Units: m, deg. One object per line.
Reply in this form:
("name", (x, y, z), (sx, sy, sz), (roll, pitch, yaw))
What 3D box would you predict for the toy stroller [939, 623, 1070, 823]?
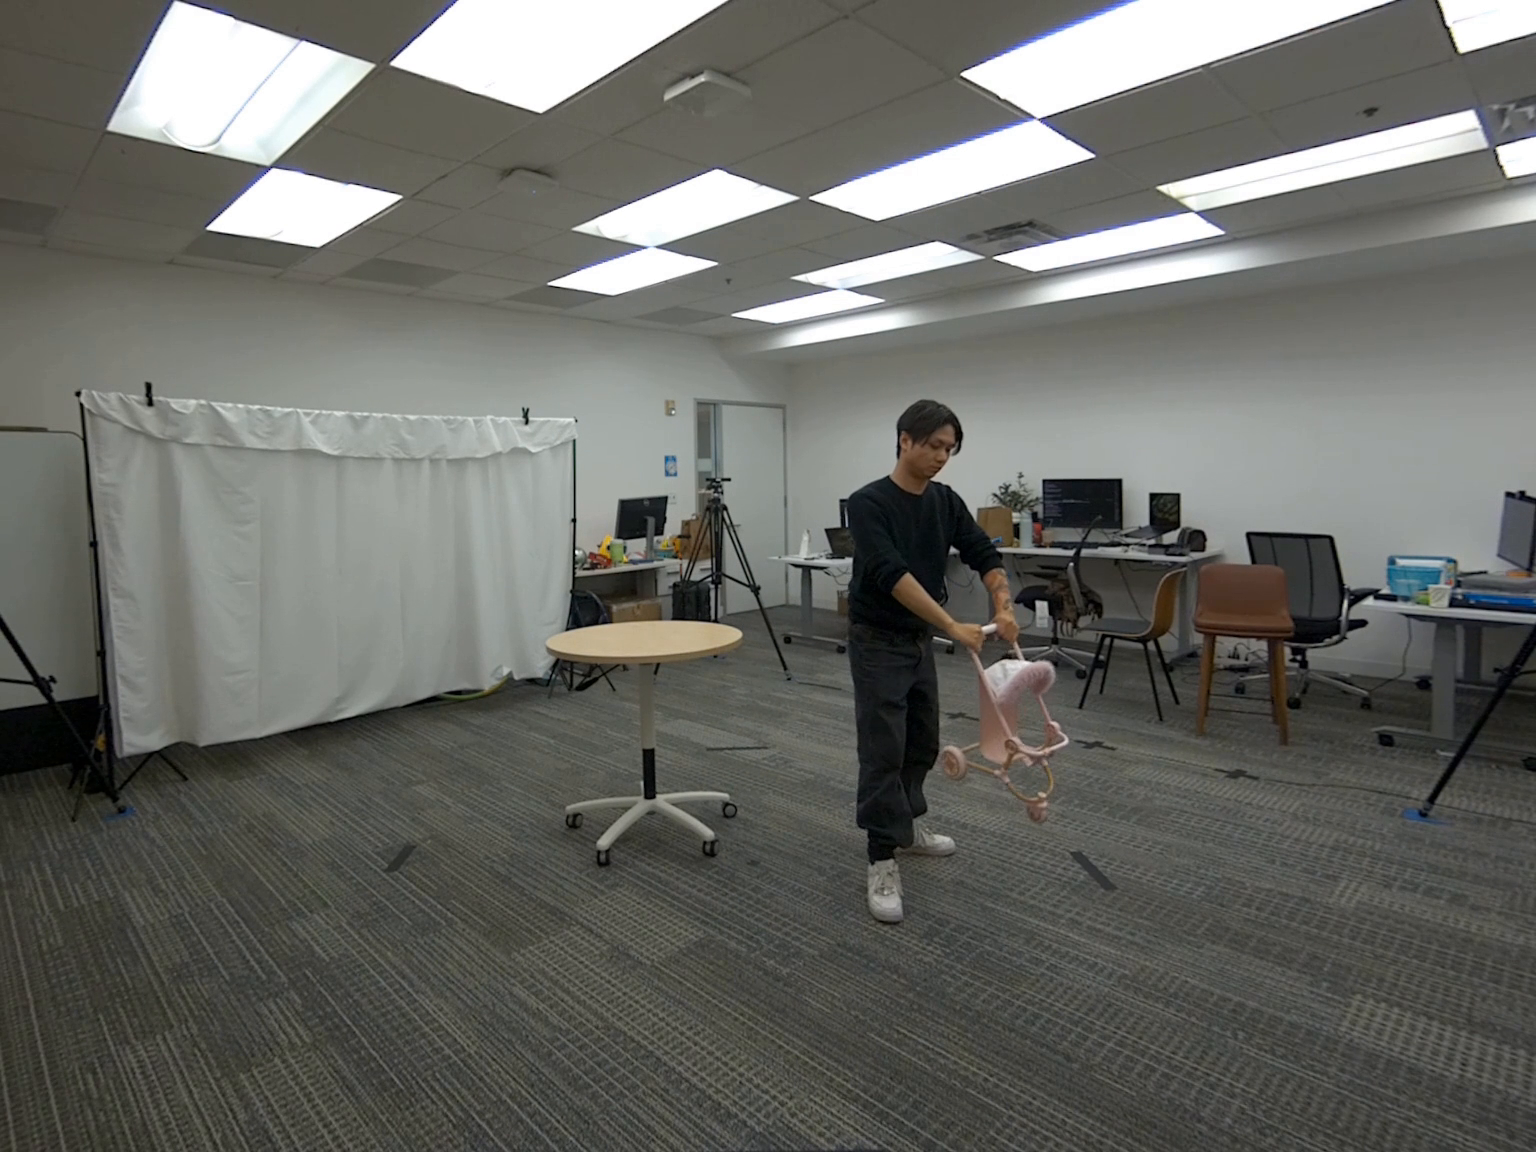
("toy stroller", (0.761, 0.464, 2.648), (0.275, 0.528, 0.354), (-7, 19, -31))
